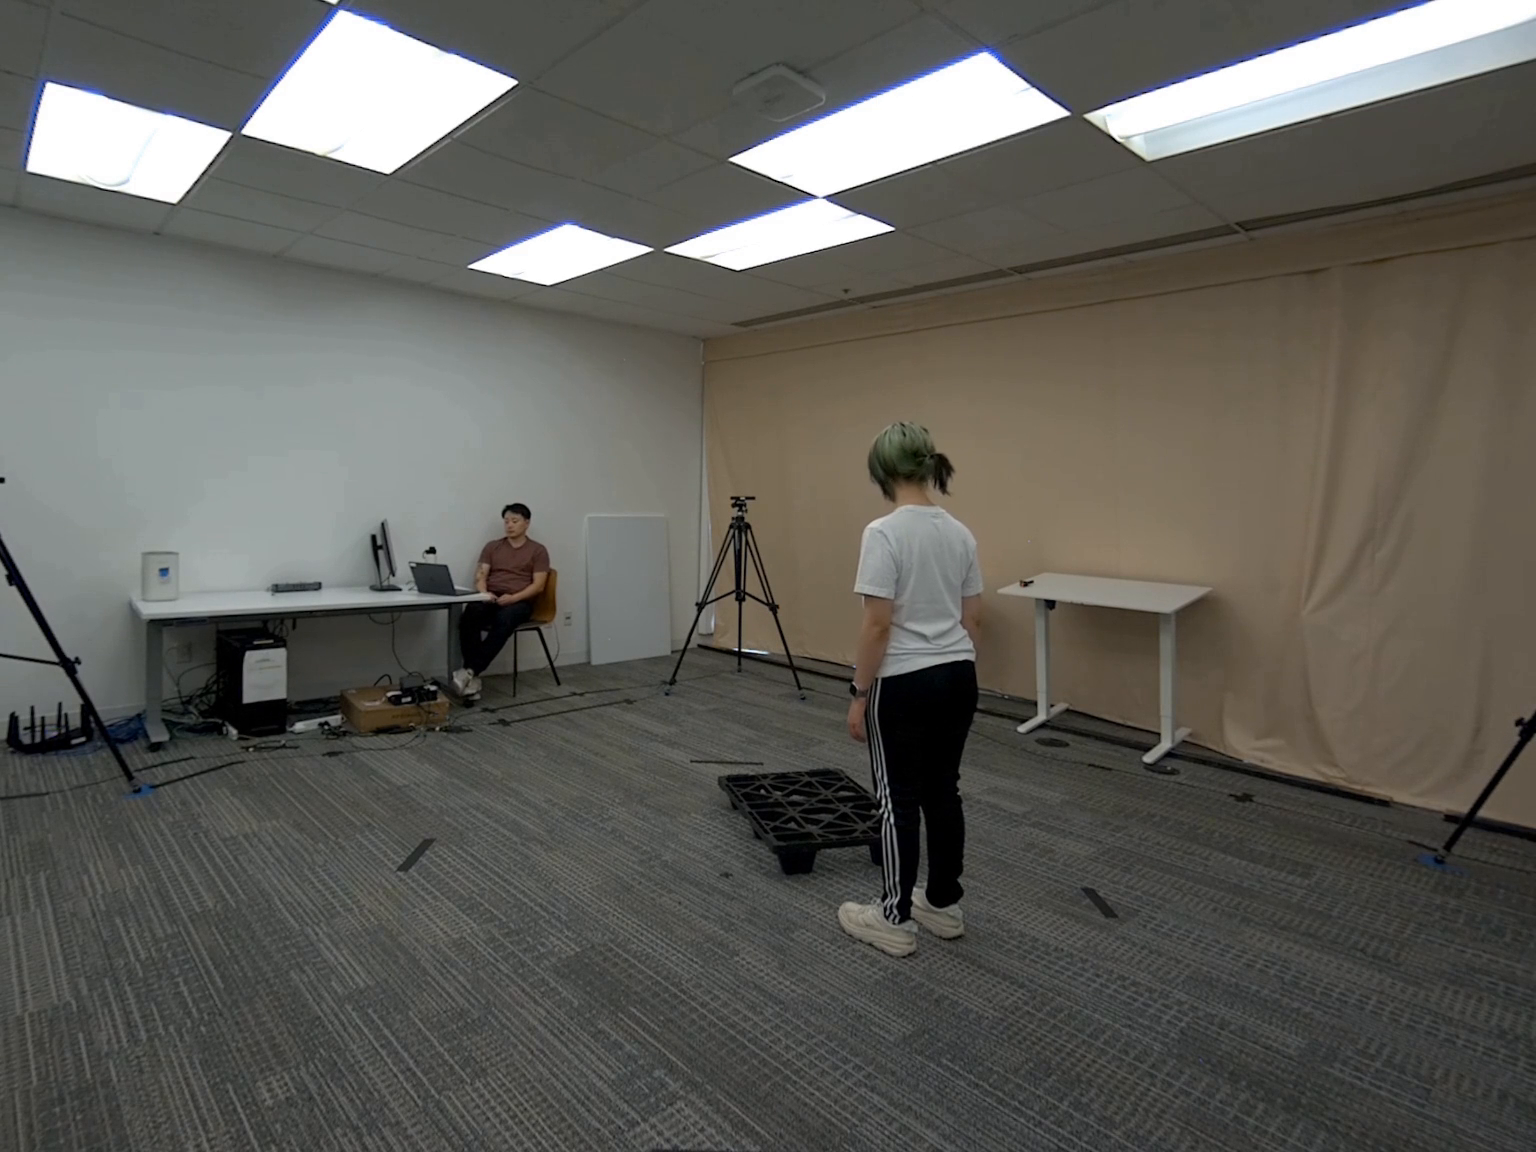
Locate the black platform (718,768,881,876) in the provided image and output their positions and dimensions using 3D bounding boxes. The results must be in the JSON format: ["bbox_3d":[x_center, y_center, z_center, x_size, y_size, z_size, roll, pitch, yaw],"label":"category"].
[{"bbox_3d":[0.169,1.008,3.522,0.597,0.143,0.818,1,5,-17],"label":"black platform"}]
